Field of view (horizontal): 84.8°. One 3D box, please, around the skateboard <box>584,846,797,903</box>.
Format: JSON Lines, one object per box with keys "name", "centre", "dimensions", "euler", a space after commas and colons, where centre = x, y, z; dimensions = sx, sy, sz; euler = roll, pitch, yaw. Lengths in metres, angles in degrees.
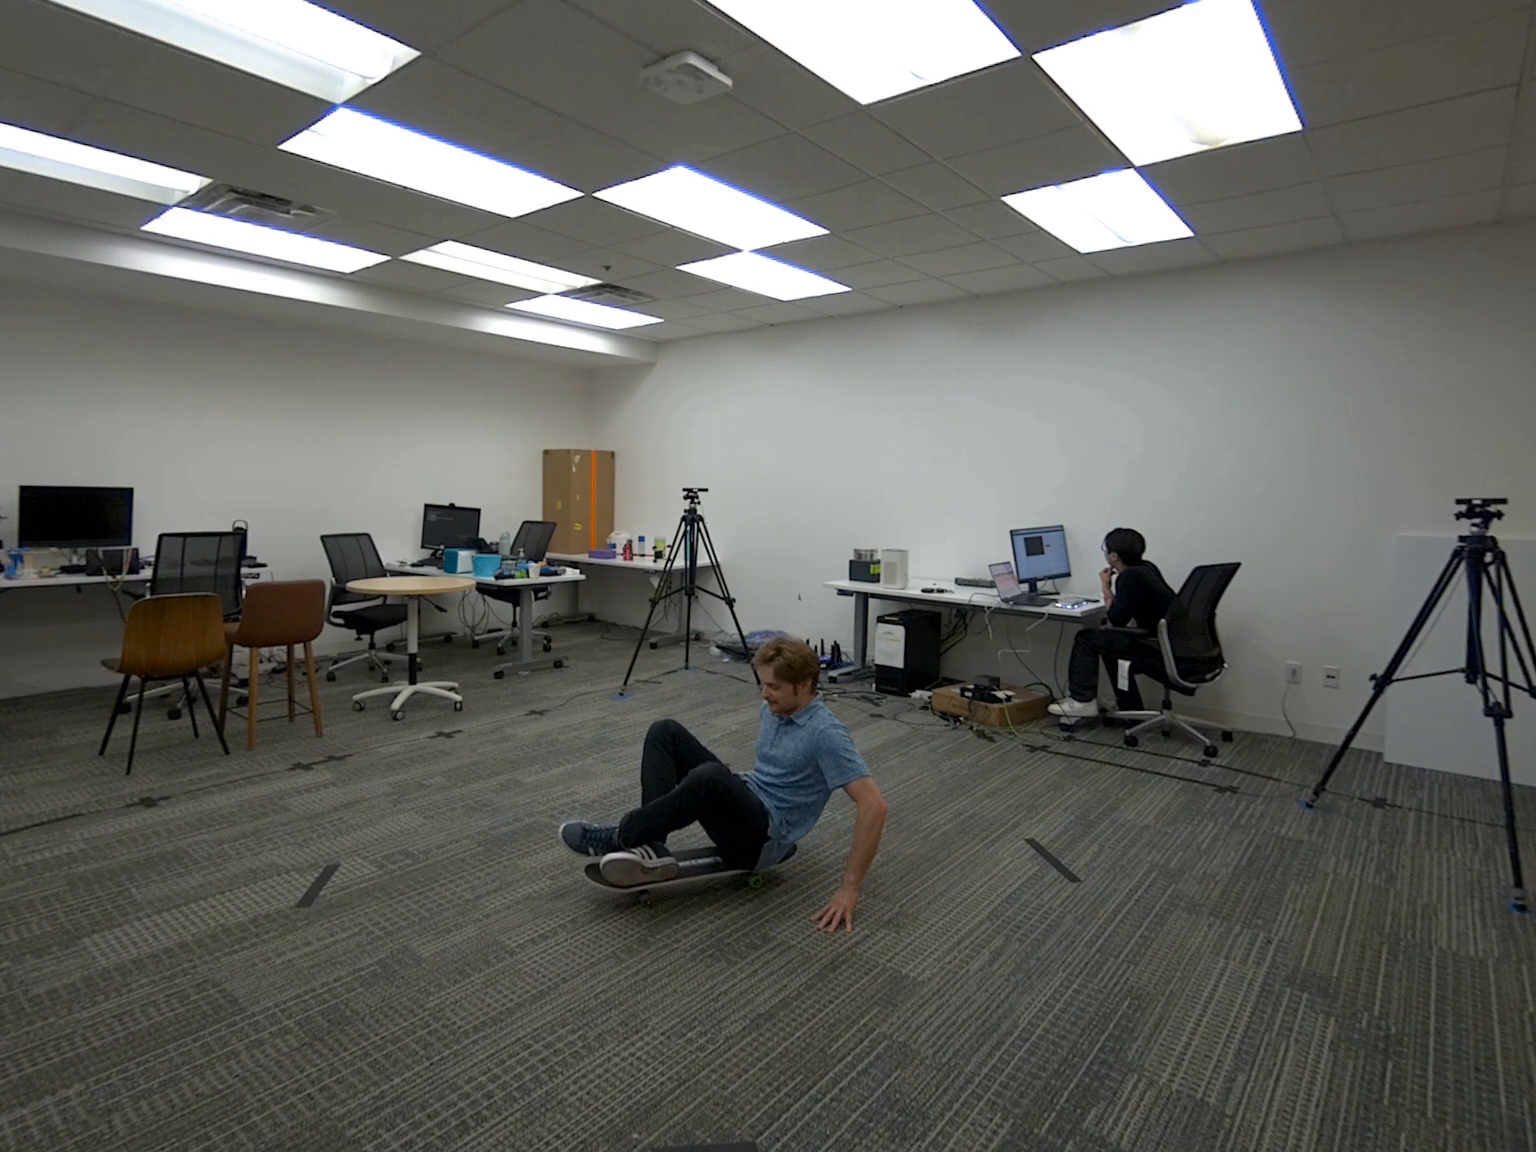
{"name": "skateboard", "centre": [-0.267, 1.037, 2.962], "dimensions": [0.768, 0.109, 0.199], "euler": [1, 9, -21]}
